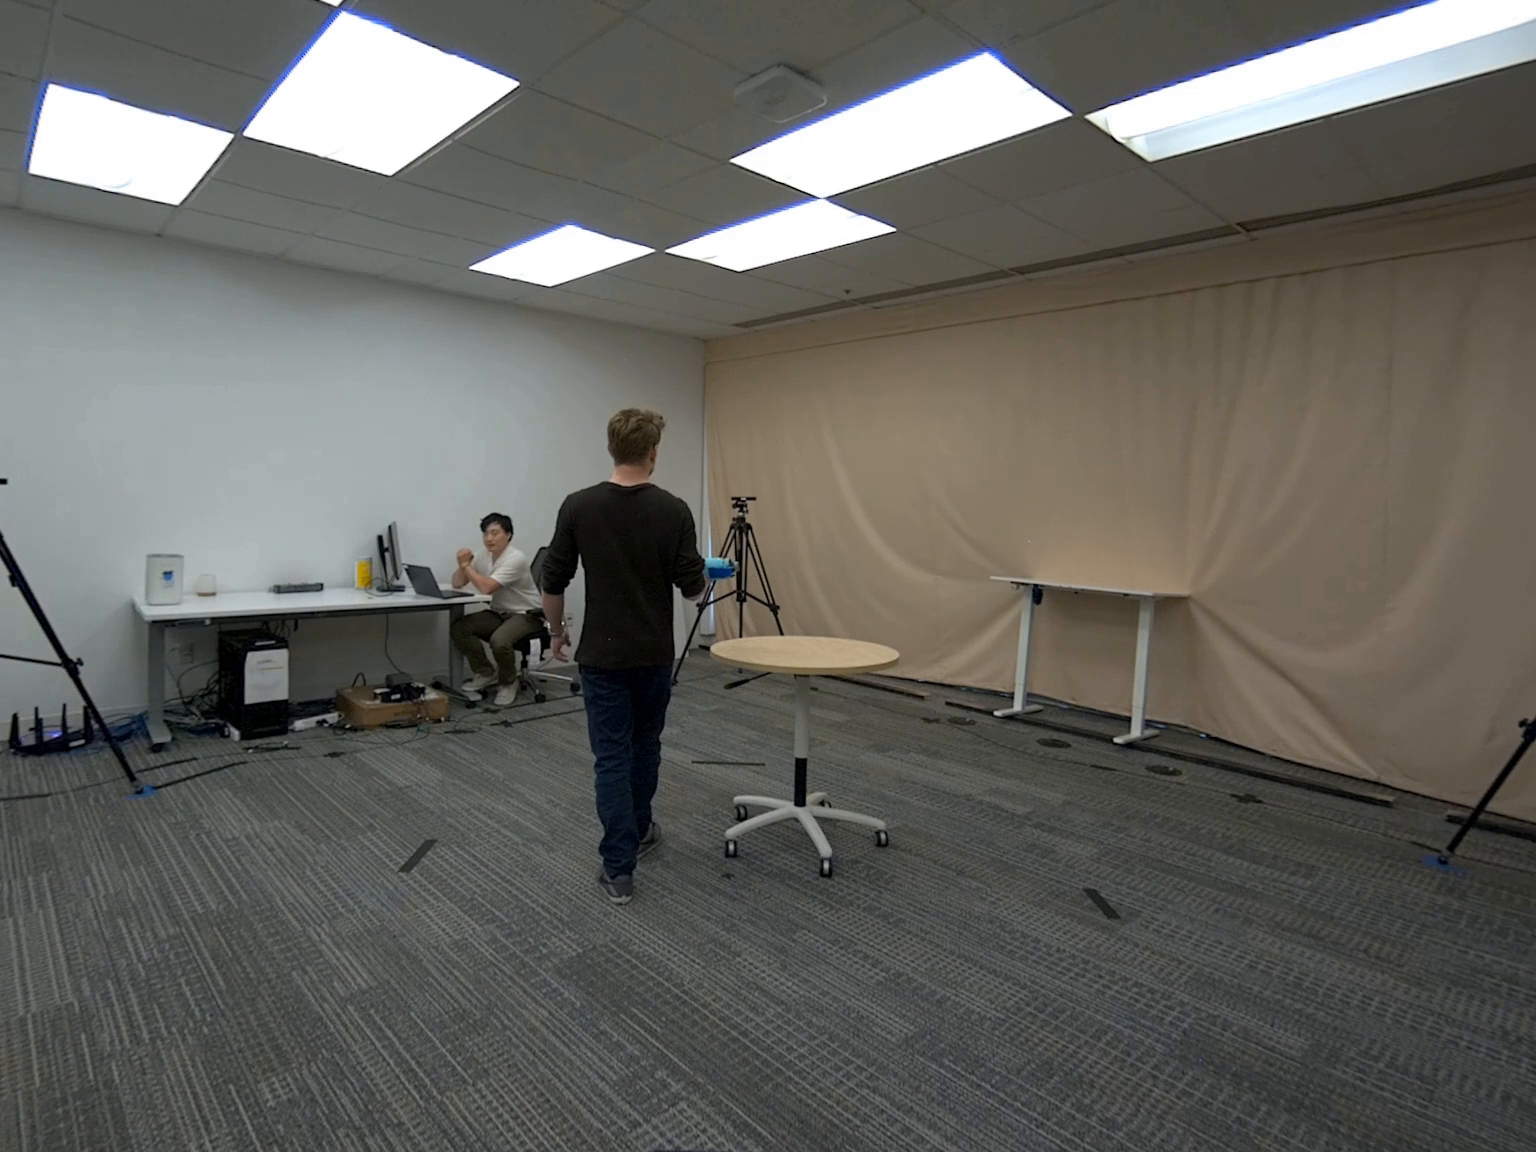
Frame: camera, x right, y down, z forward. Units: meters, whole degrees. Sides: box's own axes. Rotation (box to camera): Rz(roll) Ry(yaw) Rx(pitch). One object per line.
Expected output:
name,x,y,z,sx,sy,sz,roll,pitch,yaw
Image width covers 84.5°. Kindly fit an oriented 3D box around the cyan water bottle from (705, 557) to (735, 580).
cyan water bottle,-0.276,-0.027,3.368,0.285,0.092,0.092,0,4,8
